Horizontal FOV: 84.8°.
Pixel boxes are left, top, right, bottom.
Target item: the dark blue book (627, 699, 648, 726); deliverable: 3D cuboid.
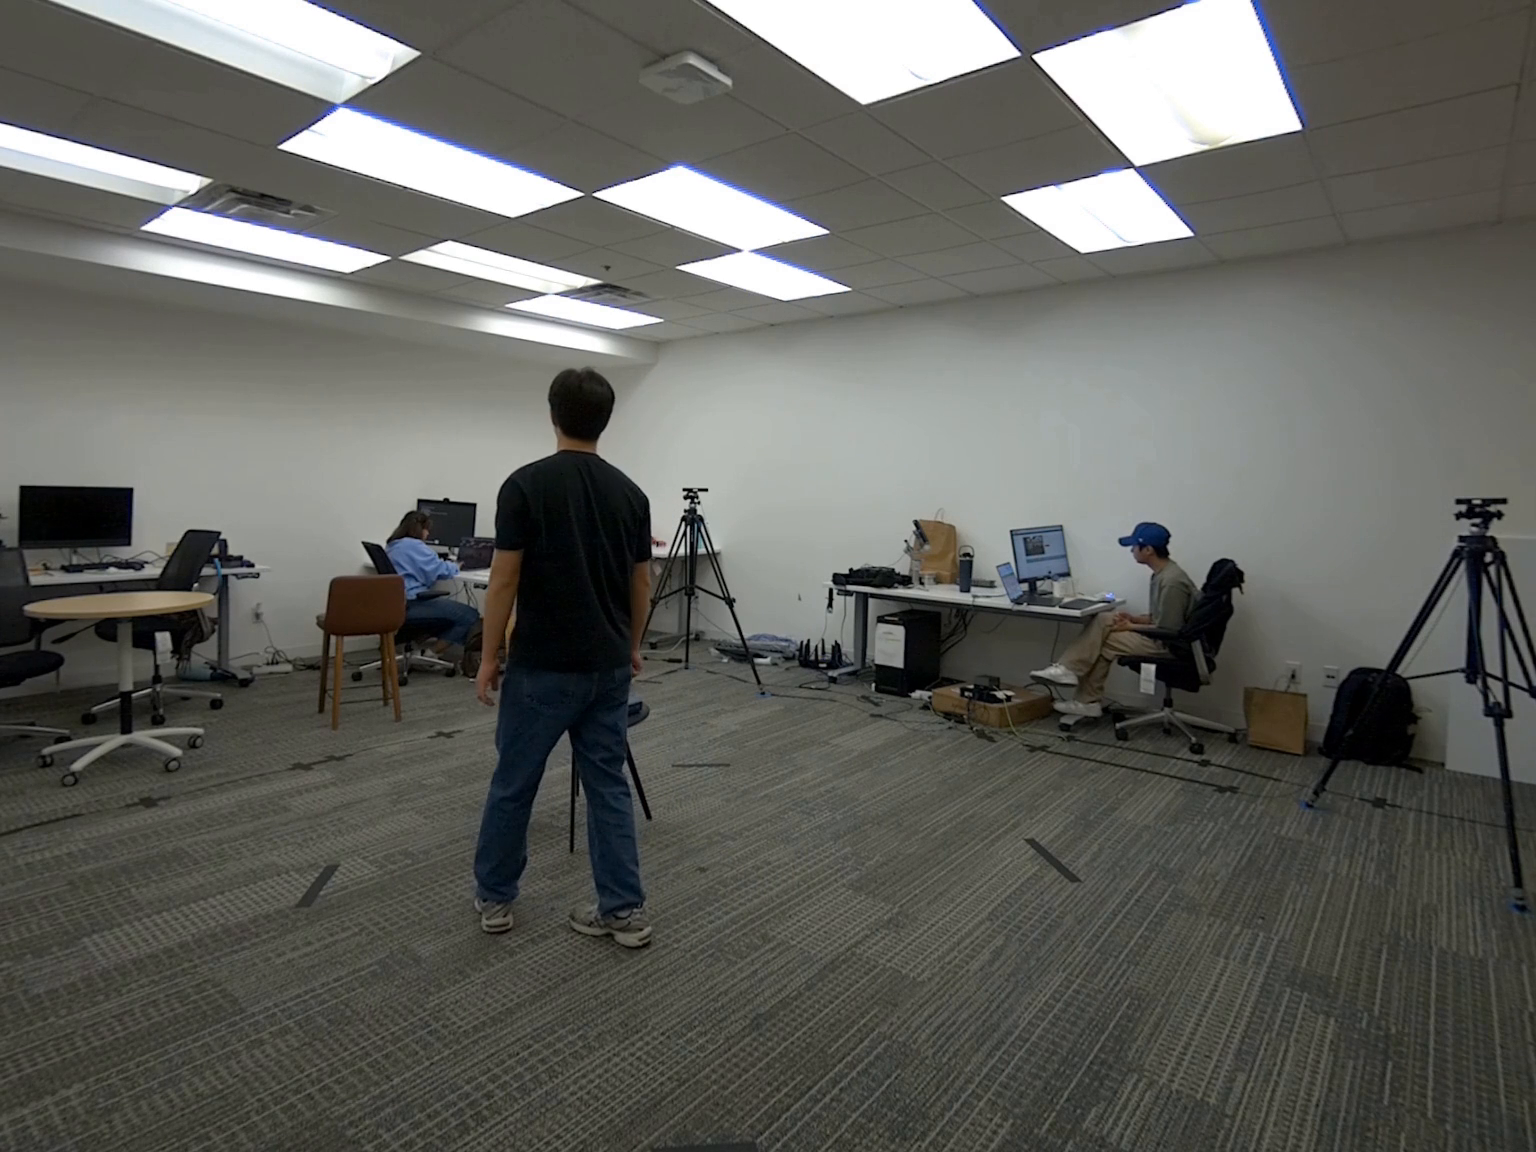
[{"bbox_3d":[-0.657,0.522,3.415,0.169,0.045,0.238,7,9,35],"label":"dark blue book"}]
